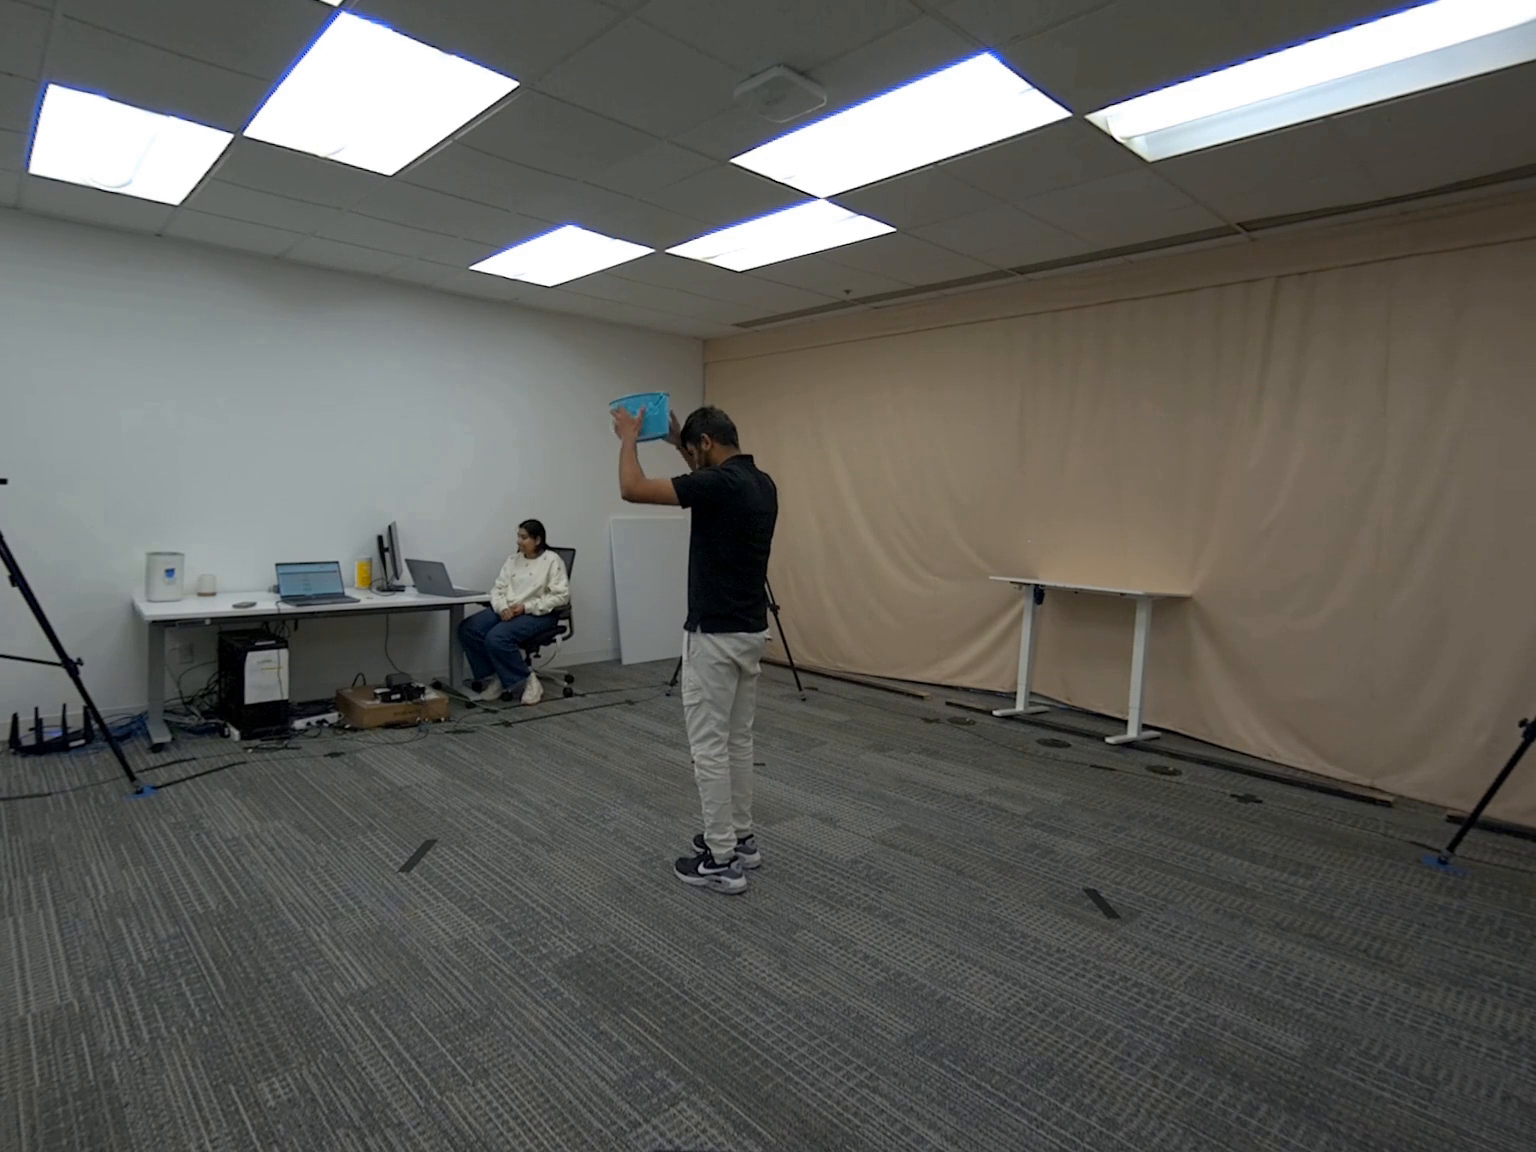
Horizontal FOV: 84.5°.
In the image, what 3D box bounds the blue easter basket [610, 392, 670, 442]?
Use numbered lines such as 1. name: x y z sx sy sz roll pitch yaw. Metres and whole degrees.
1. blue easter basket: -0.479 -0.582 3.190 0.243 0.156 0.244 -10 1 -1
